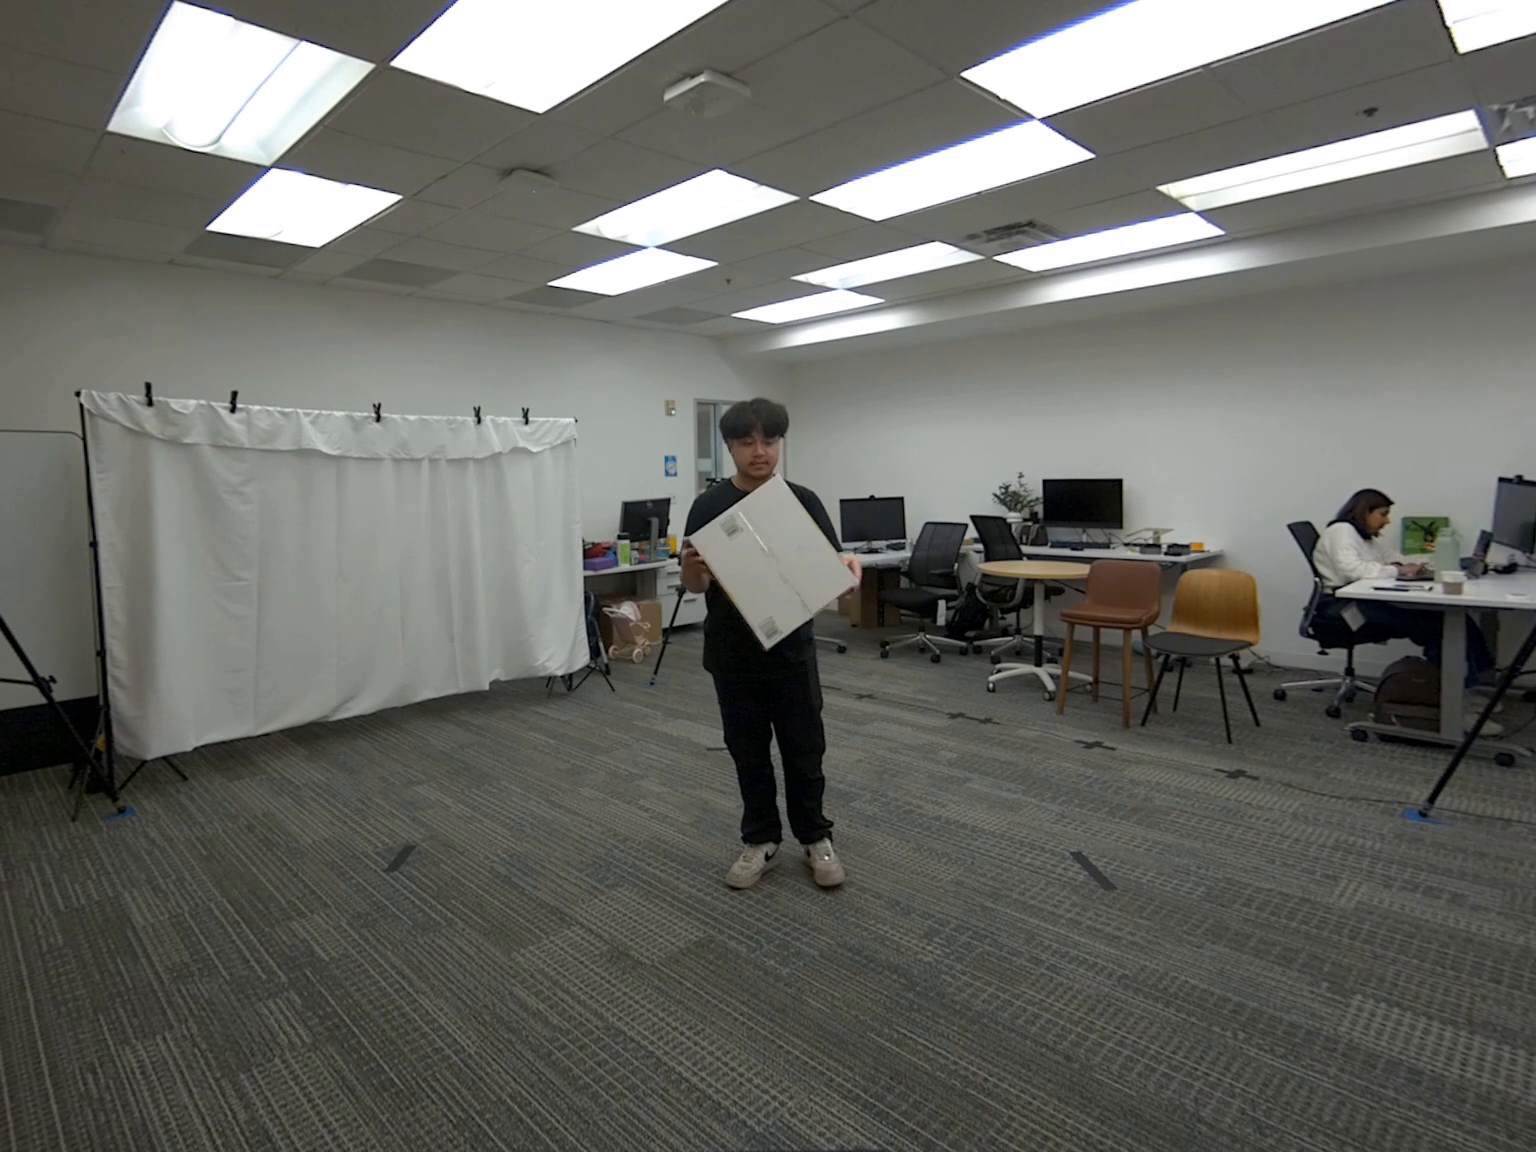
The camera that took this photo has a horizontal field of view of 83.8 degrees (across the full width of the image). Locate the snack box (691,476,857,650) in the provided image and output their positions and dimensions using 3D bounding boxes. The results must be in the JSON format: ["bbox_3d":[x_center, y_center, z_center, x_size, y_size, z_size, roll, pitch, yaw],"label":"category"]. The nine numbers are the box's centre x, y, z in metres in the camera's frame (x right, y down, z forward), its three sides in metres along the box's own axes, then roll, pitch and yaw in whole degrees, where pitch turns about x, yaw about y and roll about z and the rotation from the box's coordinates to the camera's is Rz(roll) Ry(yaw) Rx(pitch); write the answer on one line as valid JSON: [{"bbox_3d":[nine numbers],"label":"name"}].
[{"bbox_3d":[0.003,-0.036,2.601,0.340,0.408,0.204,-36,-5,-5],"label":"snack box"}]
